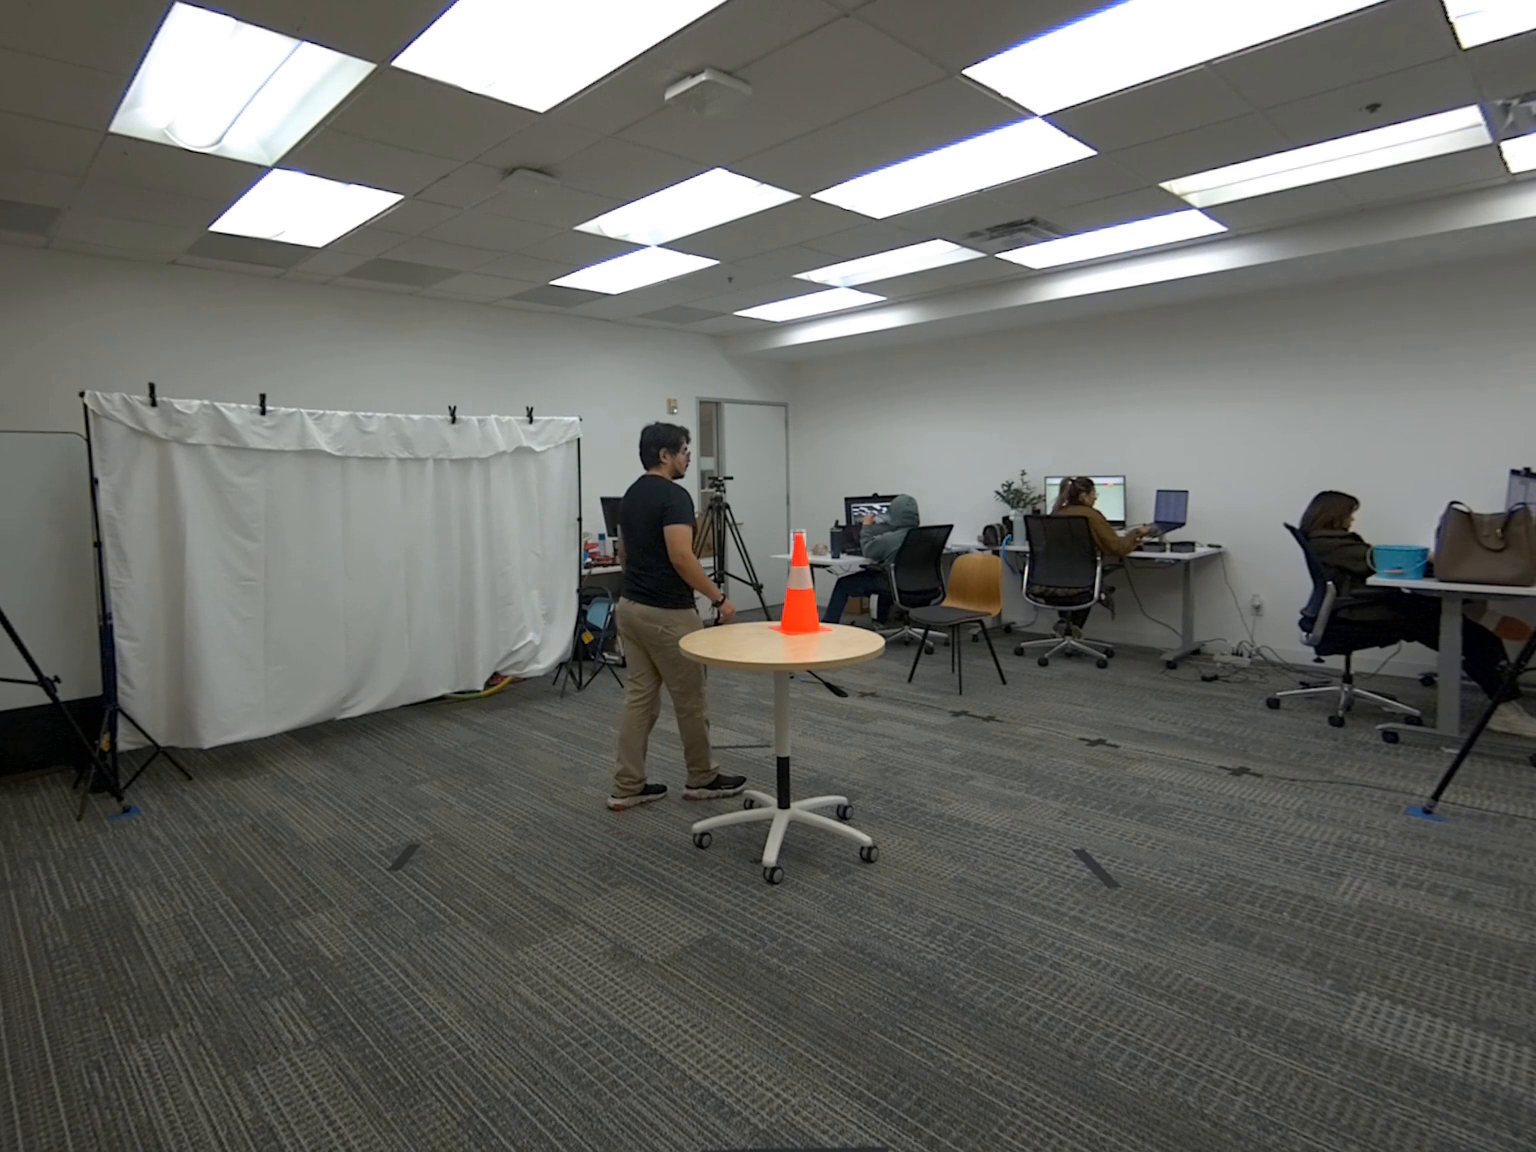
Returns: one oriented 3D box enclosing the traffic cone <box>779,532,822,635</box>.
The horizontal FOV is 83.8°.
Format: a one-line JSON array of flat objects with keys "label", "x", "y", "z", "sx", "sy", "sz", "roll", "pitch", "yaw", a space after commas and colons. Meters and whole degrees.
[{"label": "traffic cone", "x": 0.126, "y": 0.025, "z": 3.398, "sx": 0.200, "sy": 0.382, "sz": 0.209, "roll": -6, "pitch": 7, "yaw": -33}]
